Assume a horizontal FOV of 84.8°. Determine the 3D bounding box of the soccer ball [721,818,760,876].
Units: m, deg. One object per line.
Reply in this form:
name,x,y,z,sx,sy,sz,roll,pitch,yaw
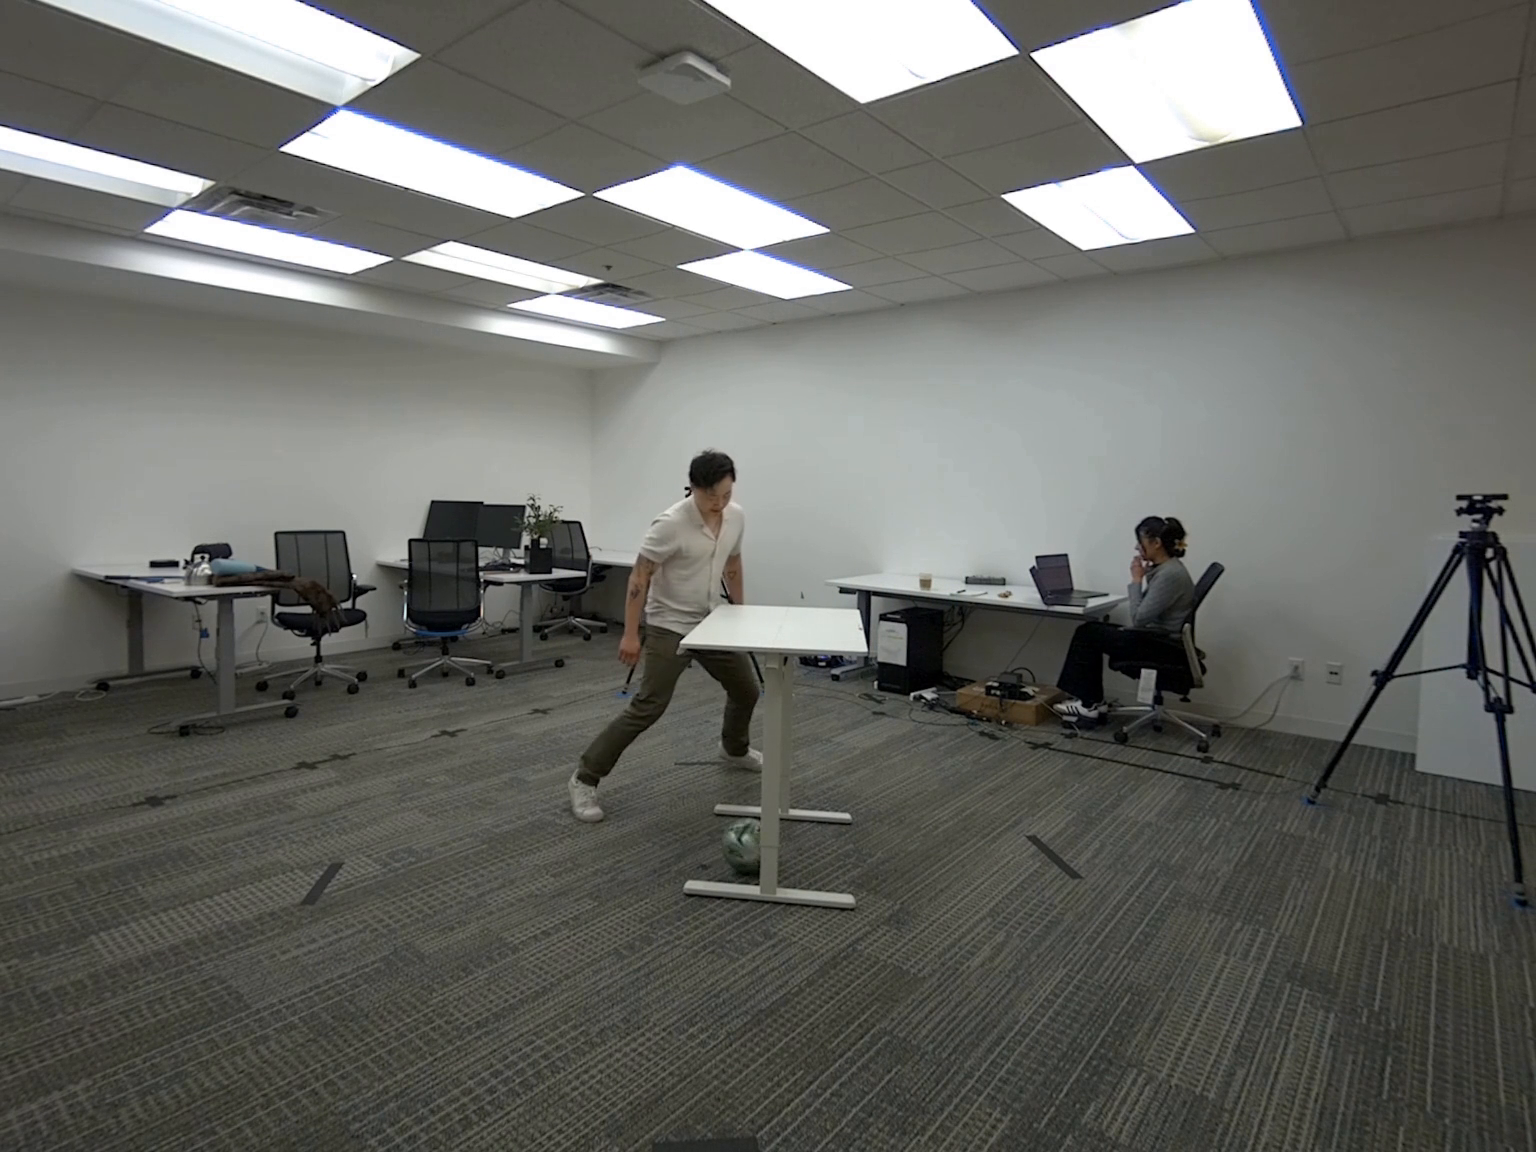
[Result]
soccer ball,-0.086,0.972,3.090,0.187,0.187,0.188,1,4,-2
